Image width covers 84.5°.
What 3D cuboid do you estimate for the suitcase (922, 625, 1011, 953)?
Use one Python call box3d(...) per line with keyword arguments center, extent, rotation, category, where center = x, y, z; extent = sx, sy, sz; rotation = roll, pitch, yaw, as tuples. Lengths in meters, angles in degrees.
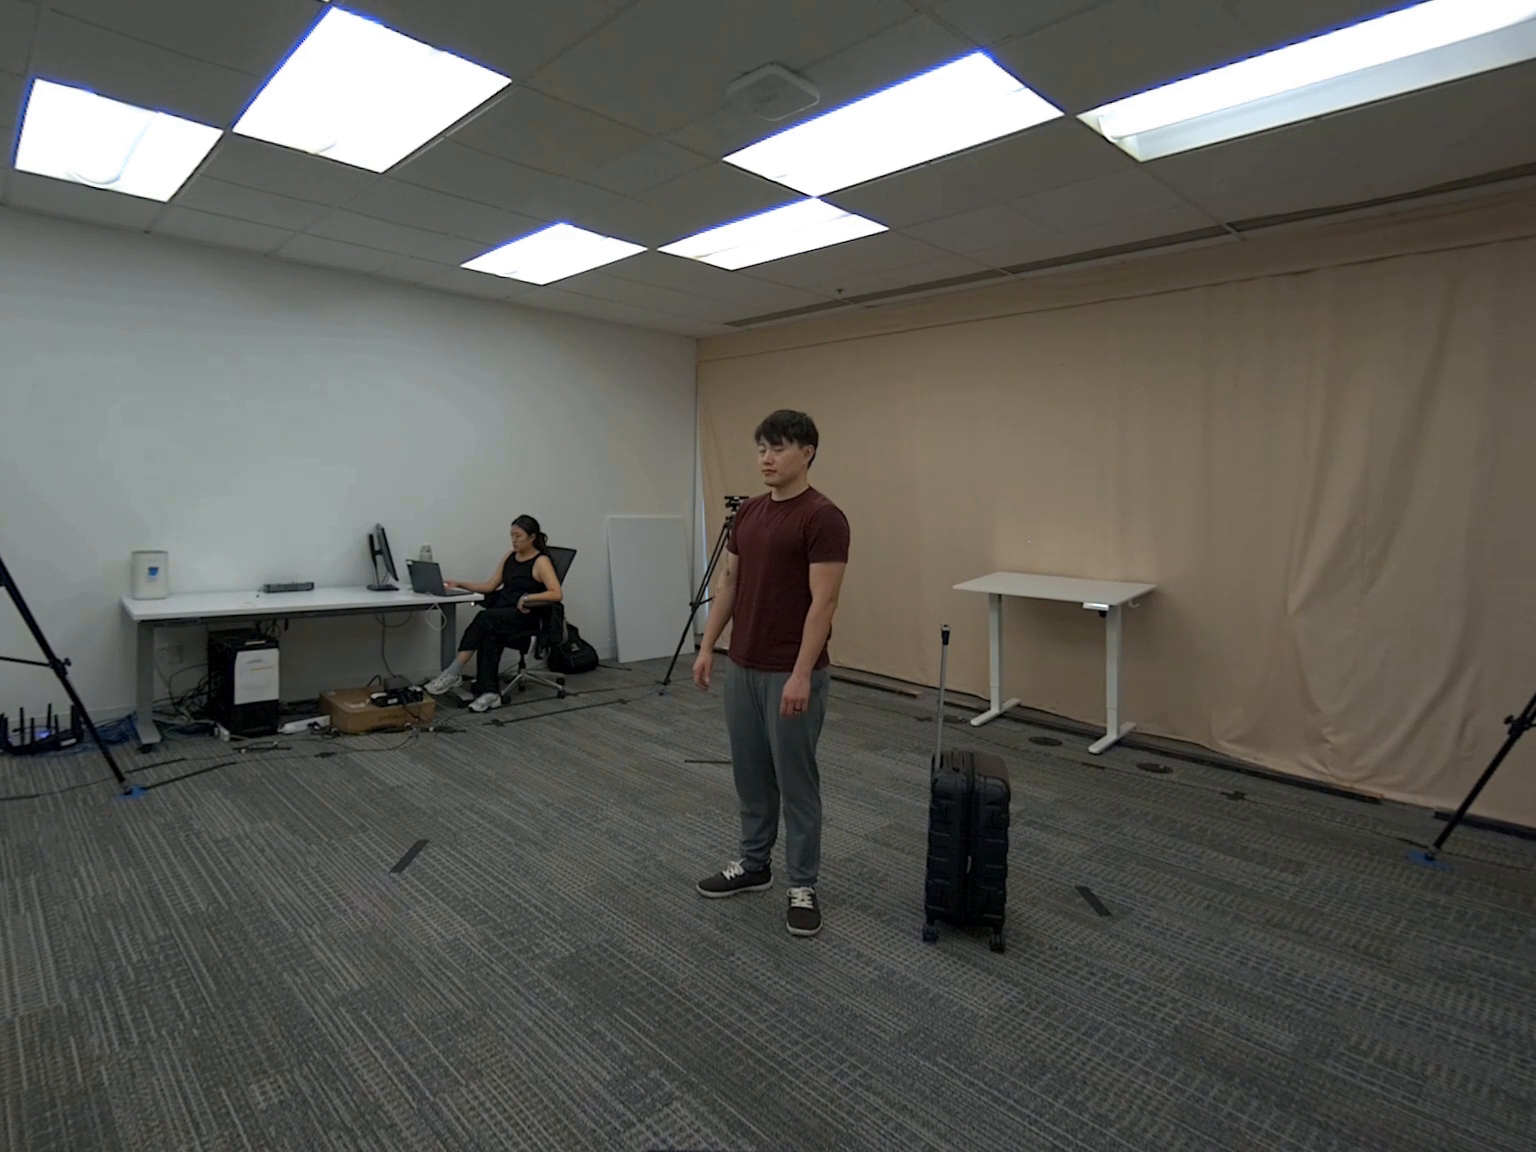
box3d(center=(0.665, 0.676, 2.787), extent=(0.260, 0.976, 0.381), rotation=(4, 3, 11), category="suitcase")
